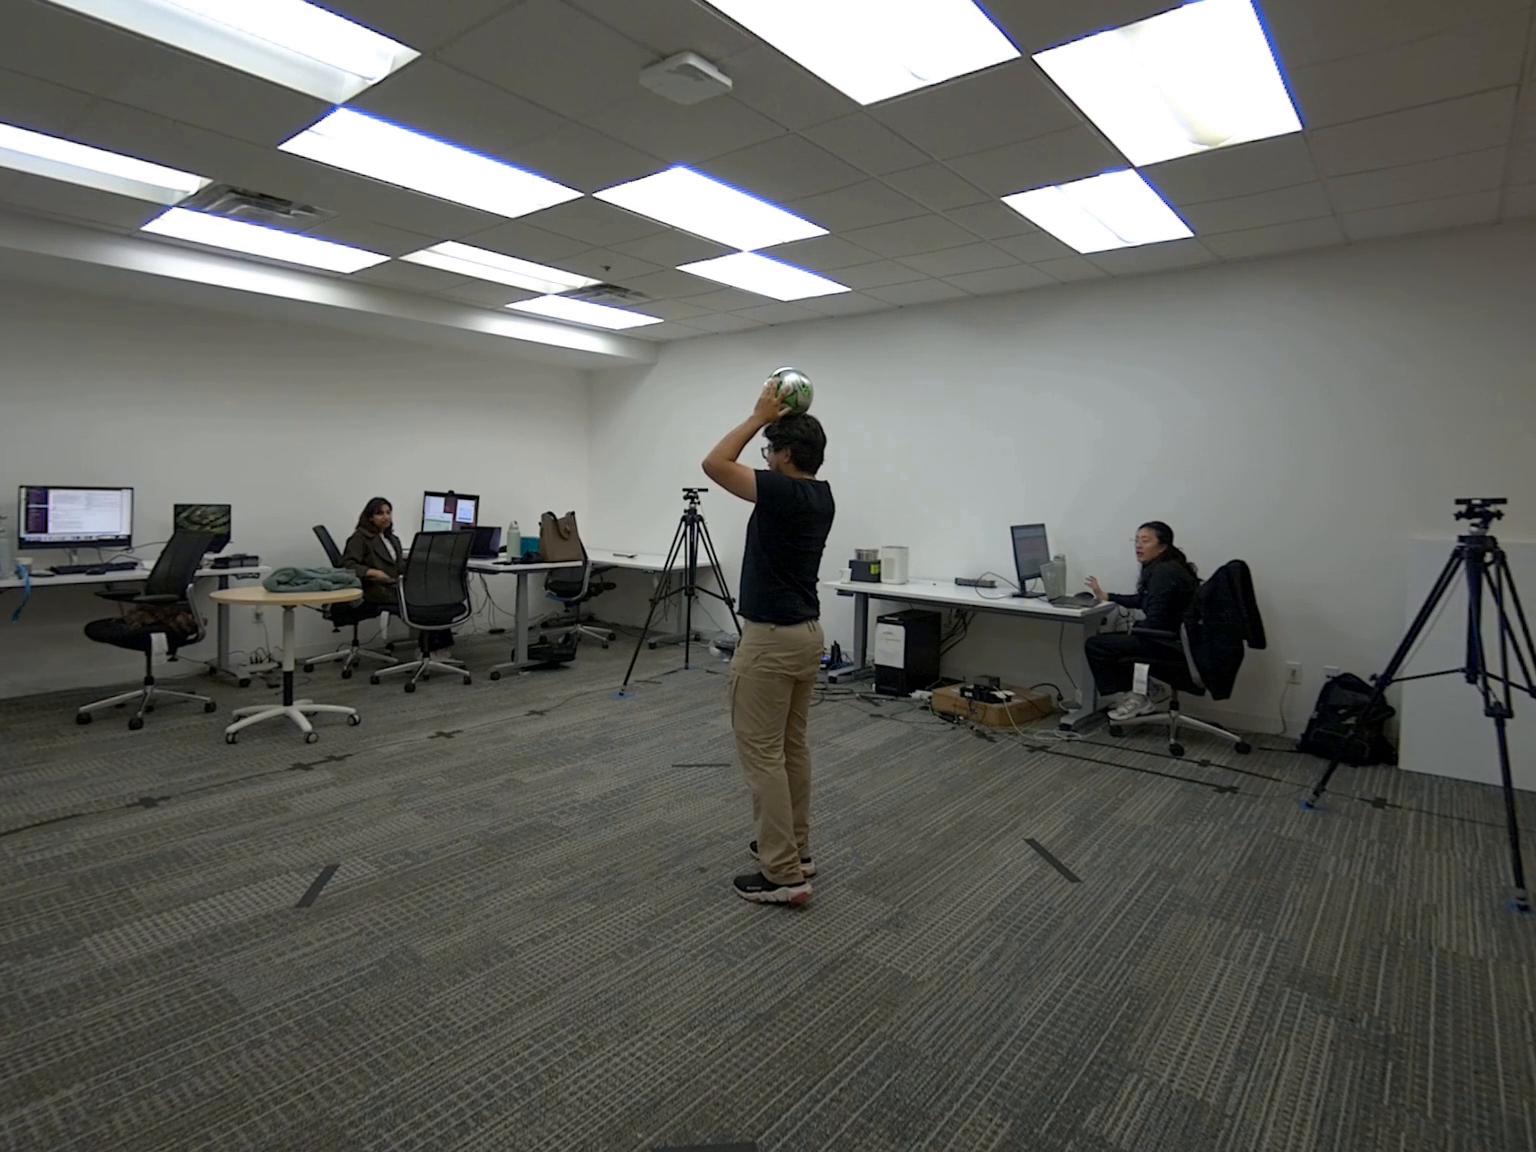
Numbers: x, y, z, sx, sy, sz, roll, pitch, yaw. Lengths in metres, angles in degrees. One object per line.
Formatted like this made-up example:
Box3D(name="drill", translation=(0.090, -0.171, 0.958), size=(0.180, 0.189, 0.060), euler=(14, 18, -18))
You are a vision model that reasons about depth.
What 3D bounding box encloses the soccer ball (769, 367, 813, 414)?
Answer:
Box3D(name="soccer ball", translation=(0.062, -0.661, 3.089), size=(0.187, 0.187, 0.188), euler=(1, 4, -2))
